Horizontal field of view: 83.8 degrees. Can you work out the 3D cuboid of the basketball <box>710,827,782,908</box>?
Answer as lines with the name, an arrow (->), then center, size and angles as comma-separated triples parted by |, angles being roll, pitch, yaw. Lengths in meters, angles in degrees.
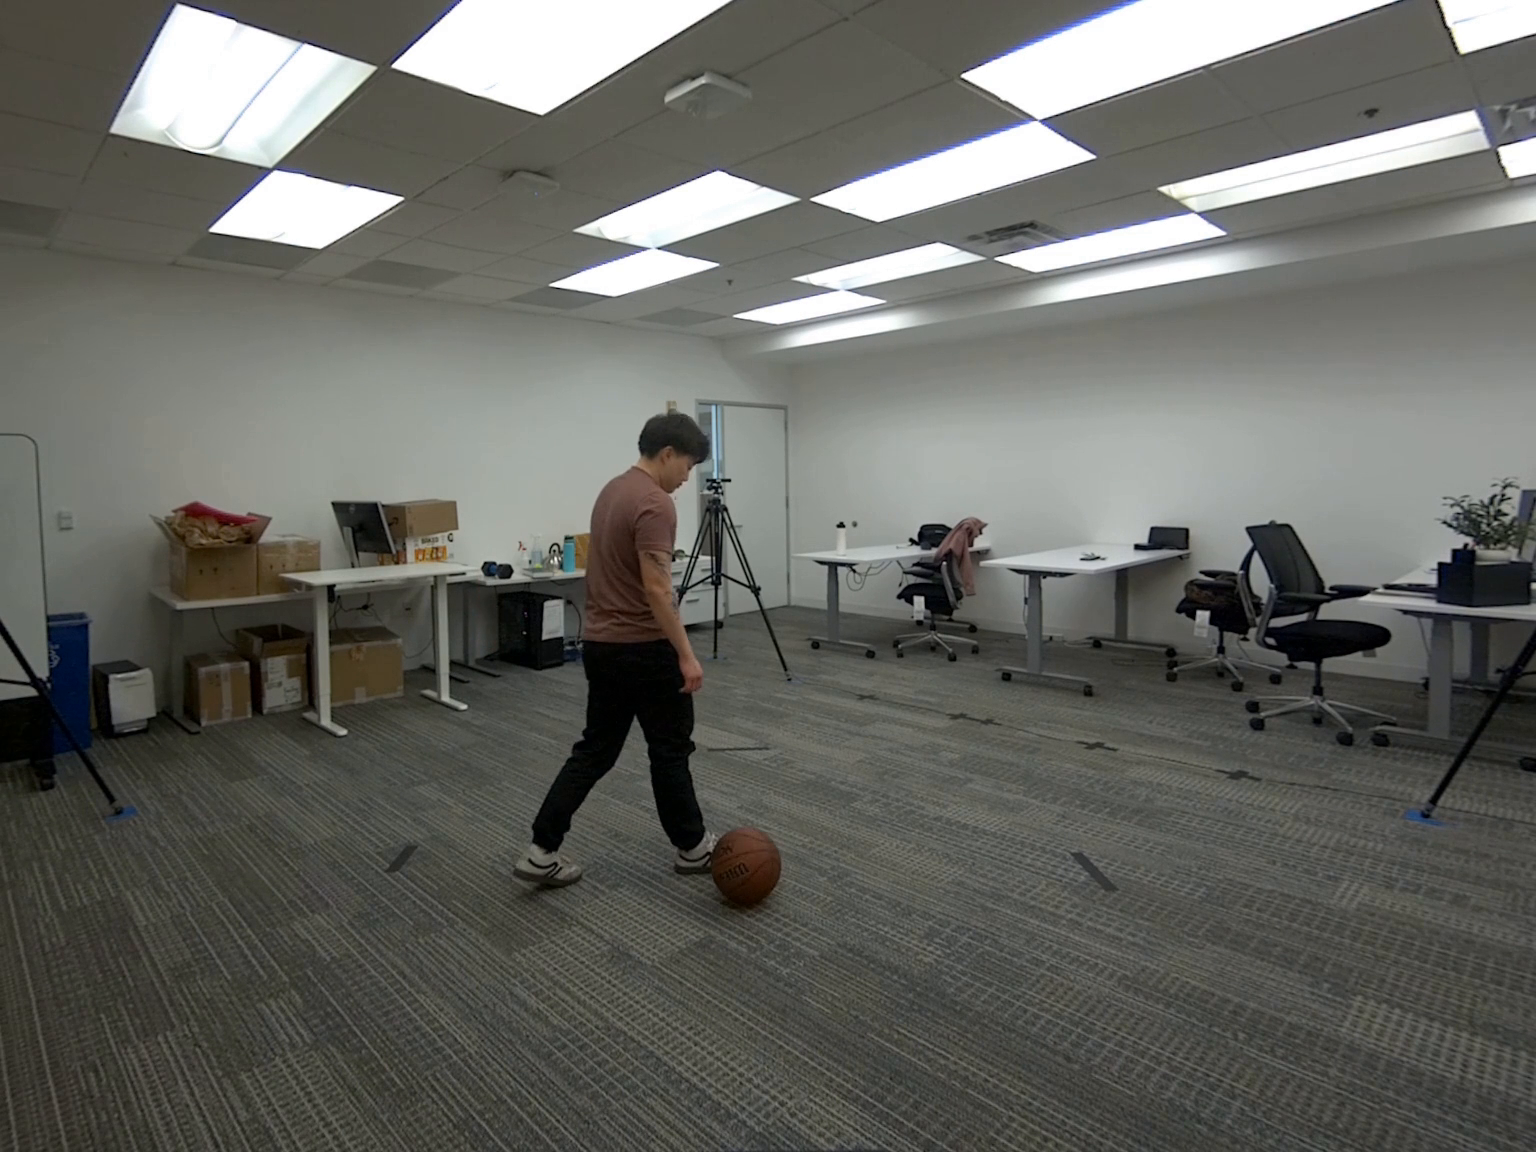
basketball -> -0.068, 0.961, 2.831 | 0.236, 0.235, 0.237 | -1, 5, -2
